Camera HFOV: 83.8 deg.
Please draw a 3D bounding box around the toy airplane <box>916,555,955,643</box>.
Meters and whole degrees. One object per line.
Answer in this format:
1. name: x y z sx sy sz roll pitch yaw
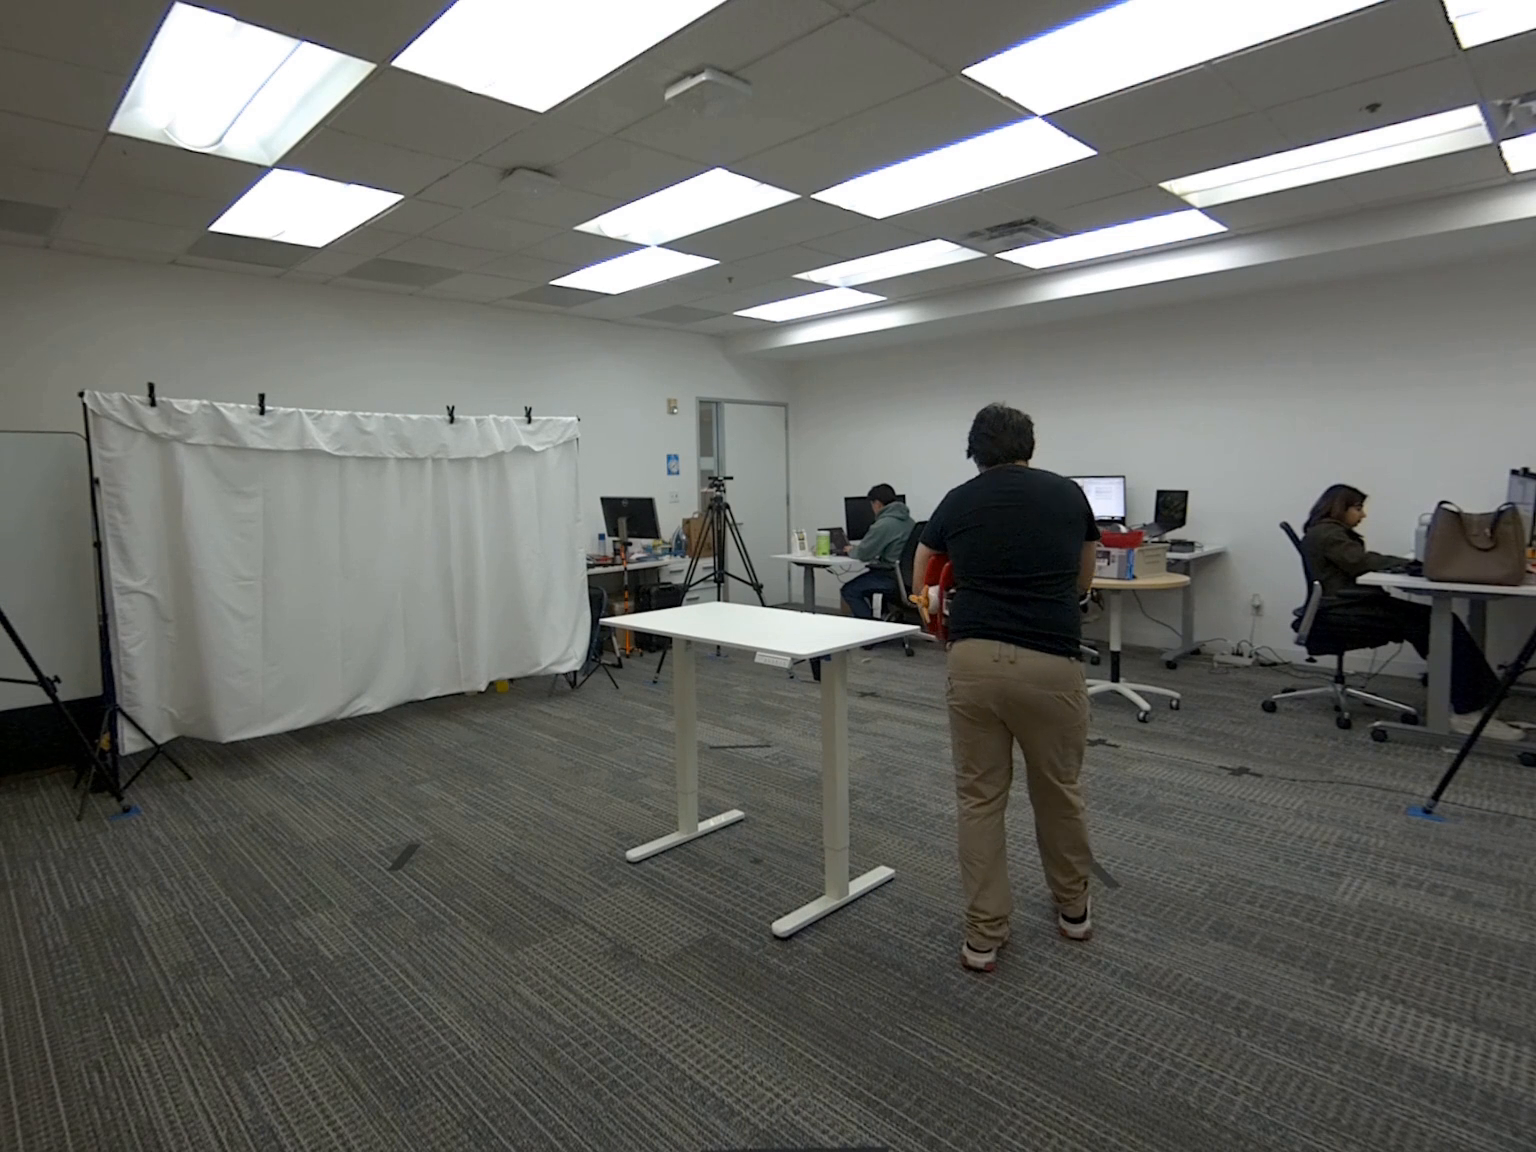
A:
1. toy airplane: 0.578 0.076 2.633 0.250 0.251 0.162 18 3 -35
